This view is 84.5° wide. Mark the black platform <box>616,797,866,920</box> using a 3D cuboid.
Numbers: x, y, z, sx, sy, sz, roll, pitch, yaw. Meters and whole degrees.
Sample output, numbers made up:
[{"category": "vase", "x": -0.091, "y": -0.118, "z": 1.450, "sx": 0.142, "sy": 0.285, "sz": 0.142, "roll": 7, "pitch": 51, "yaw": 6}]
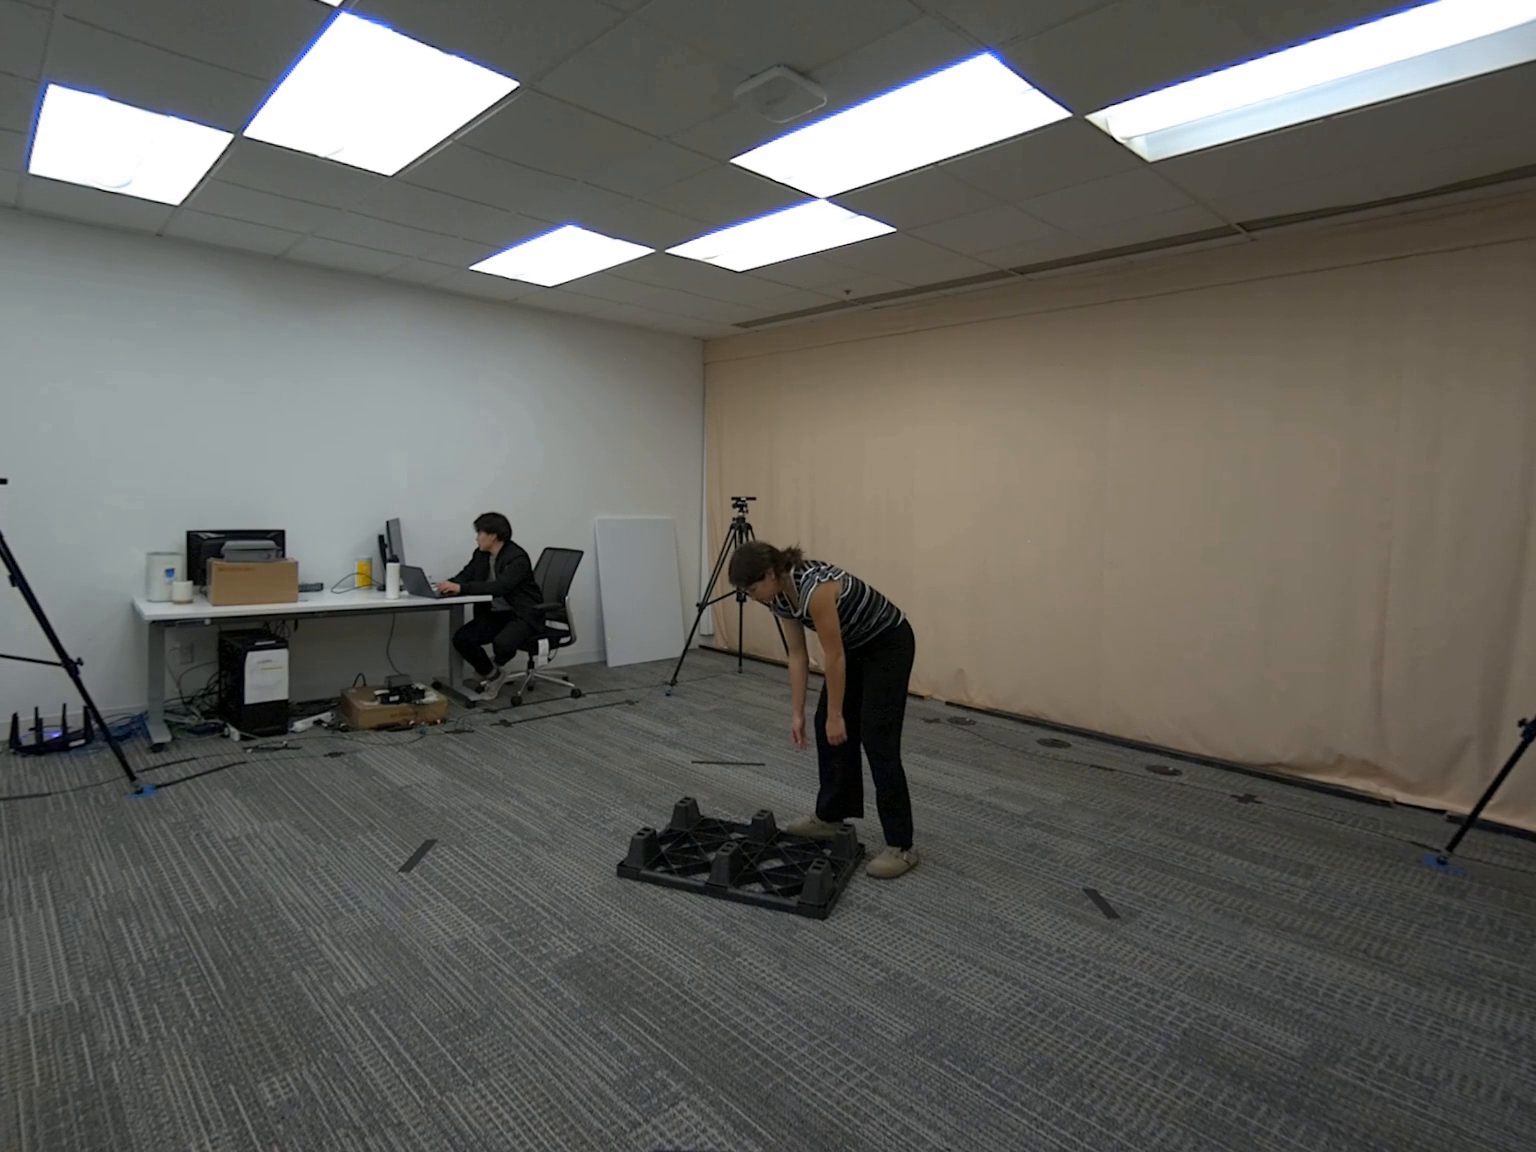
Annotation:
[{"category": "black platform", "x": -0.090, "y": 1.034, "z": 3.202, "sx": 0.819, "sy": 0.143, "sz": 0.597, "roll": 4, "pitch": 5, "yaw": 21}]
